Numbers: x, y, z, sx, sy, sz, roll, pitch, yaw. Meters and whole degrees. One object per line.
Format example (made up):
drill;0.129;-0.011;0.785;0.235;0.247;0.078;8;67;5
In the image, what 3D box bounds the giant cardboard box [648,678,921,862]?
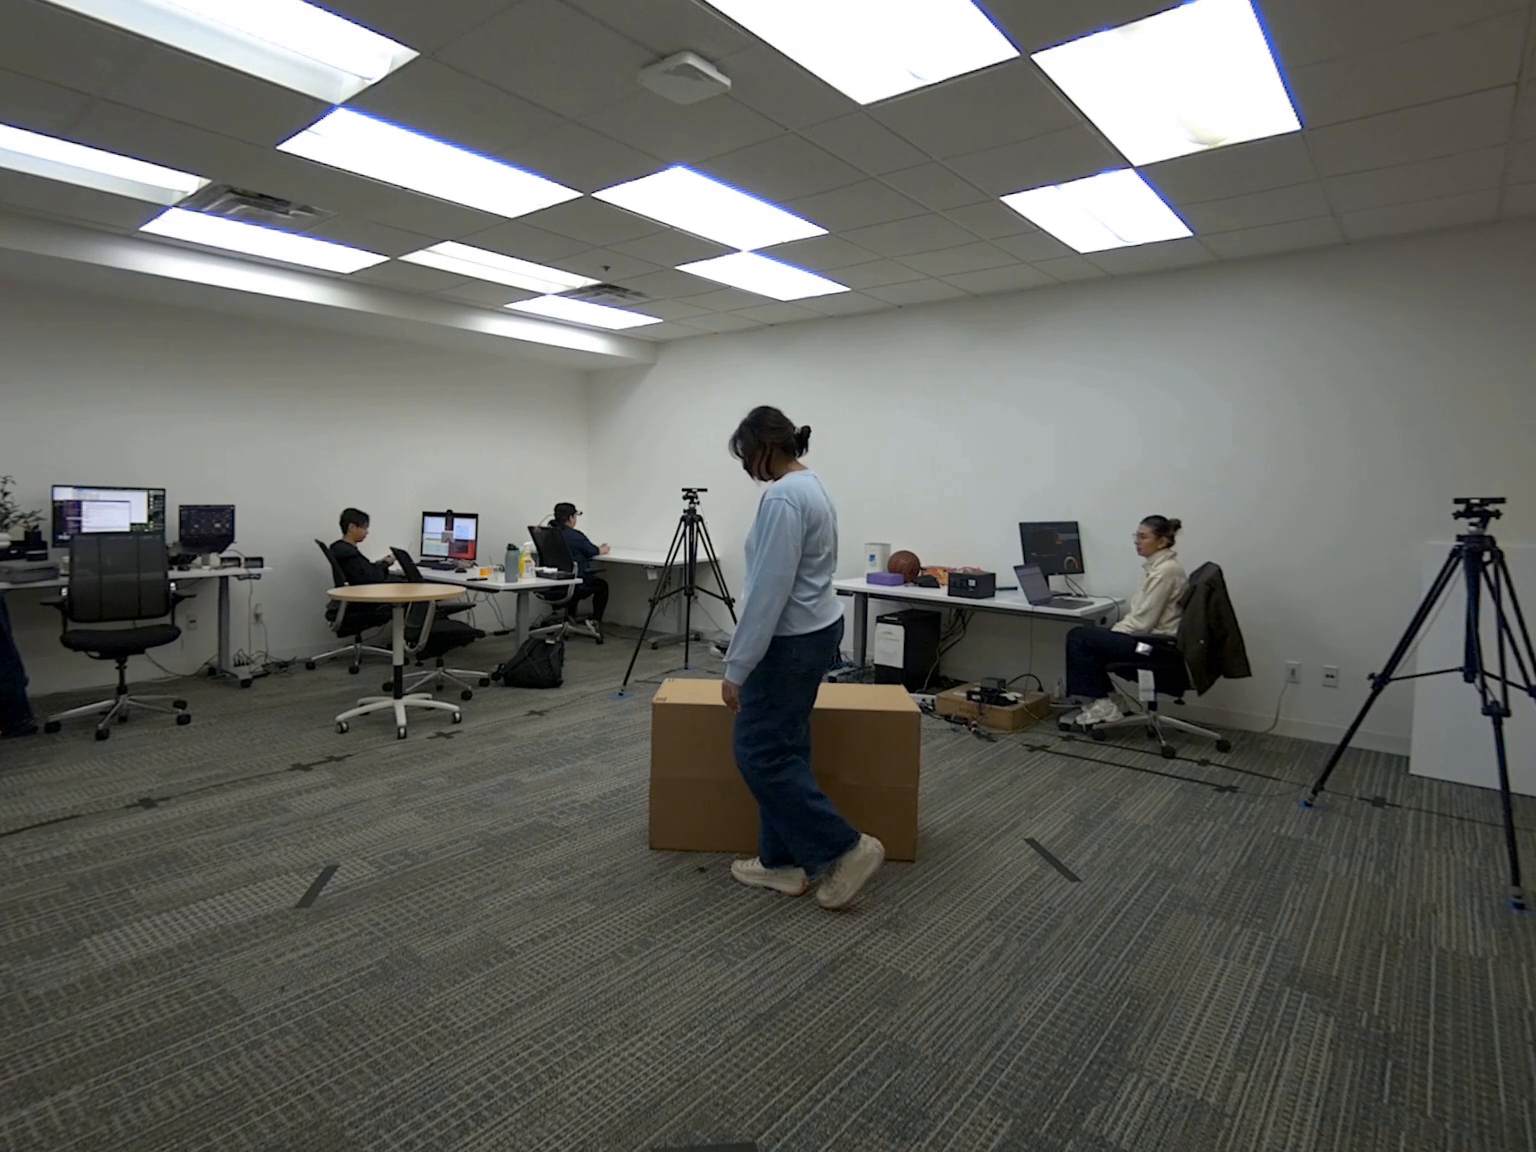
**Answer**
giant cardboard box;0.051;0.751;3.439;1.030;0.576;0.425;1;3;3
